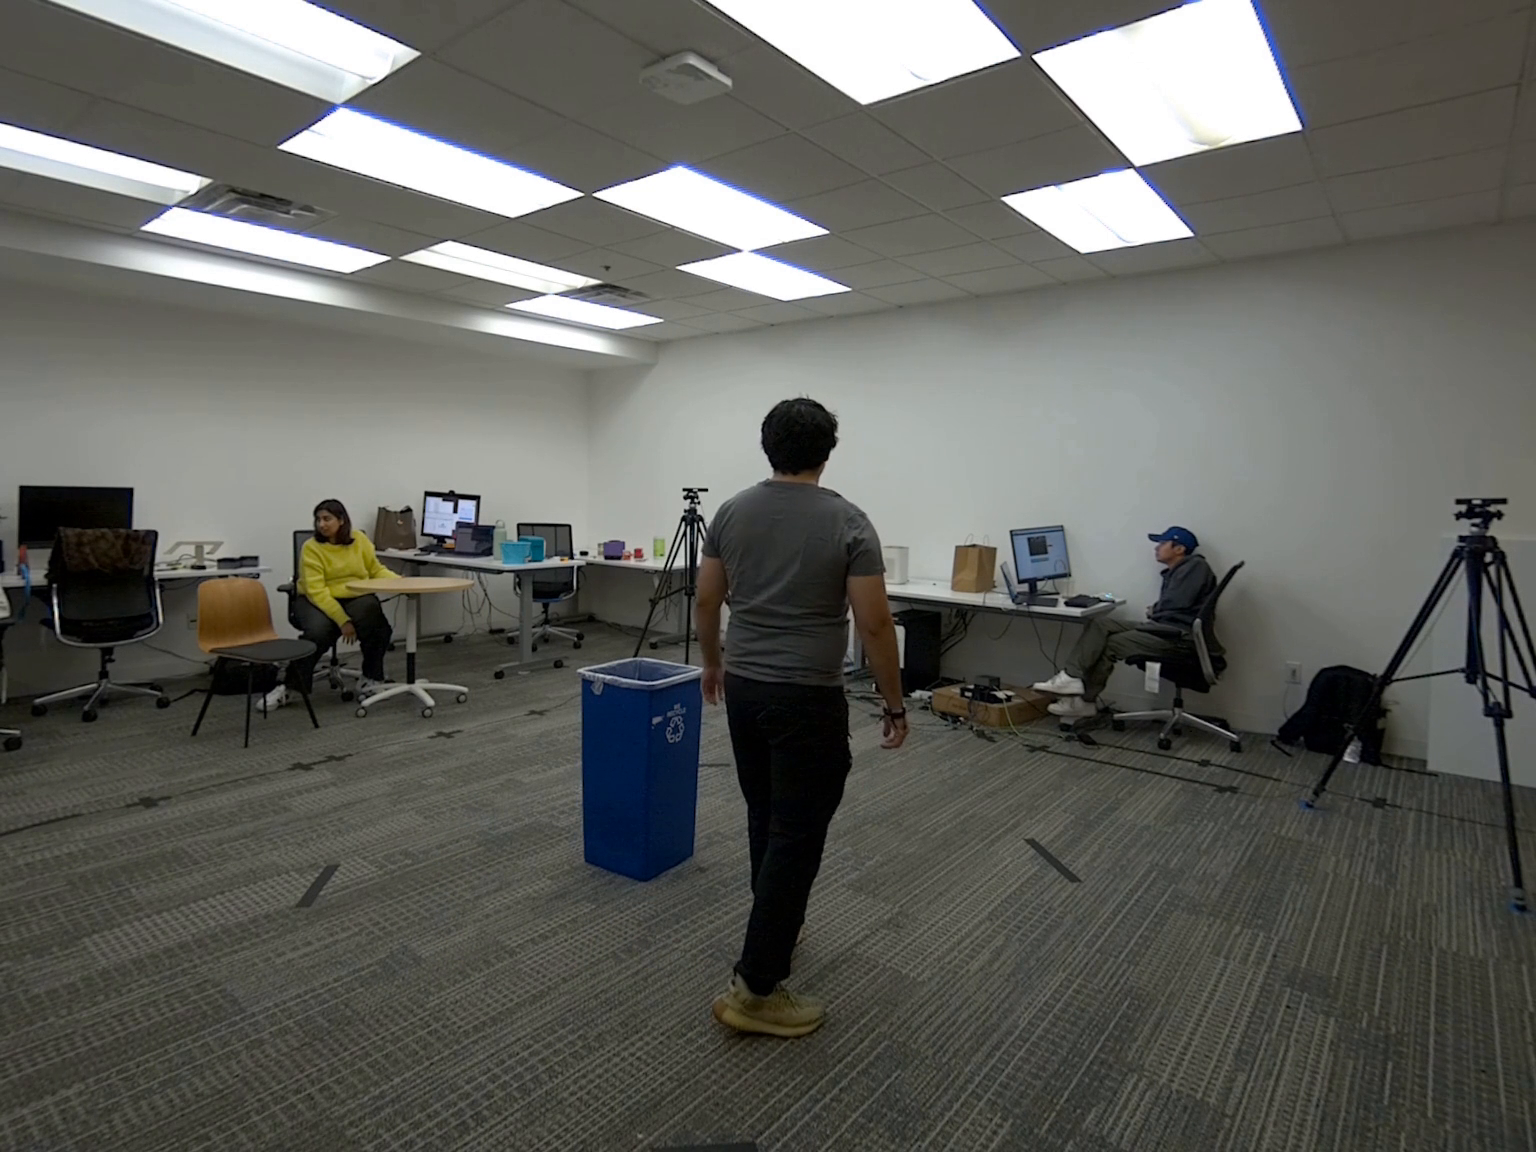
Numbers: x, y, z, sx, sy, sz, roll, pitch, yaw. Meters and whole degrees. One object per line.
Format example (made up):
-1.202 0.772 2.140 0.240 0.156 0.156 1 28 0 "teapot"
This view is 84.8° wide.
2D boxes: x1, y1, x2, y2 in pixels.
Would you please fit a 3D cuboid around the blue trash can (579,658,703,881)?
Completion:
-0.483 0.699 3.189 0.390 0.712 0.364 3 4 32 "blue trash can"
